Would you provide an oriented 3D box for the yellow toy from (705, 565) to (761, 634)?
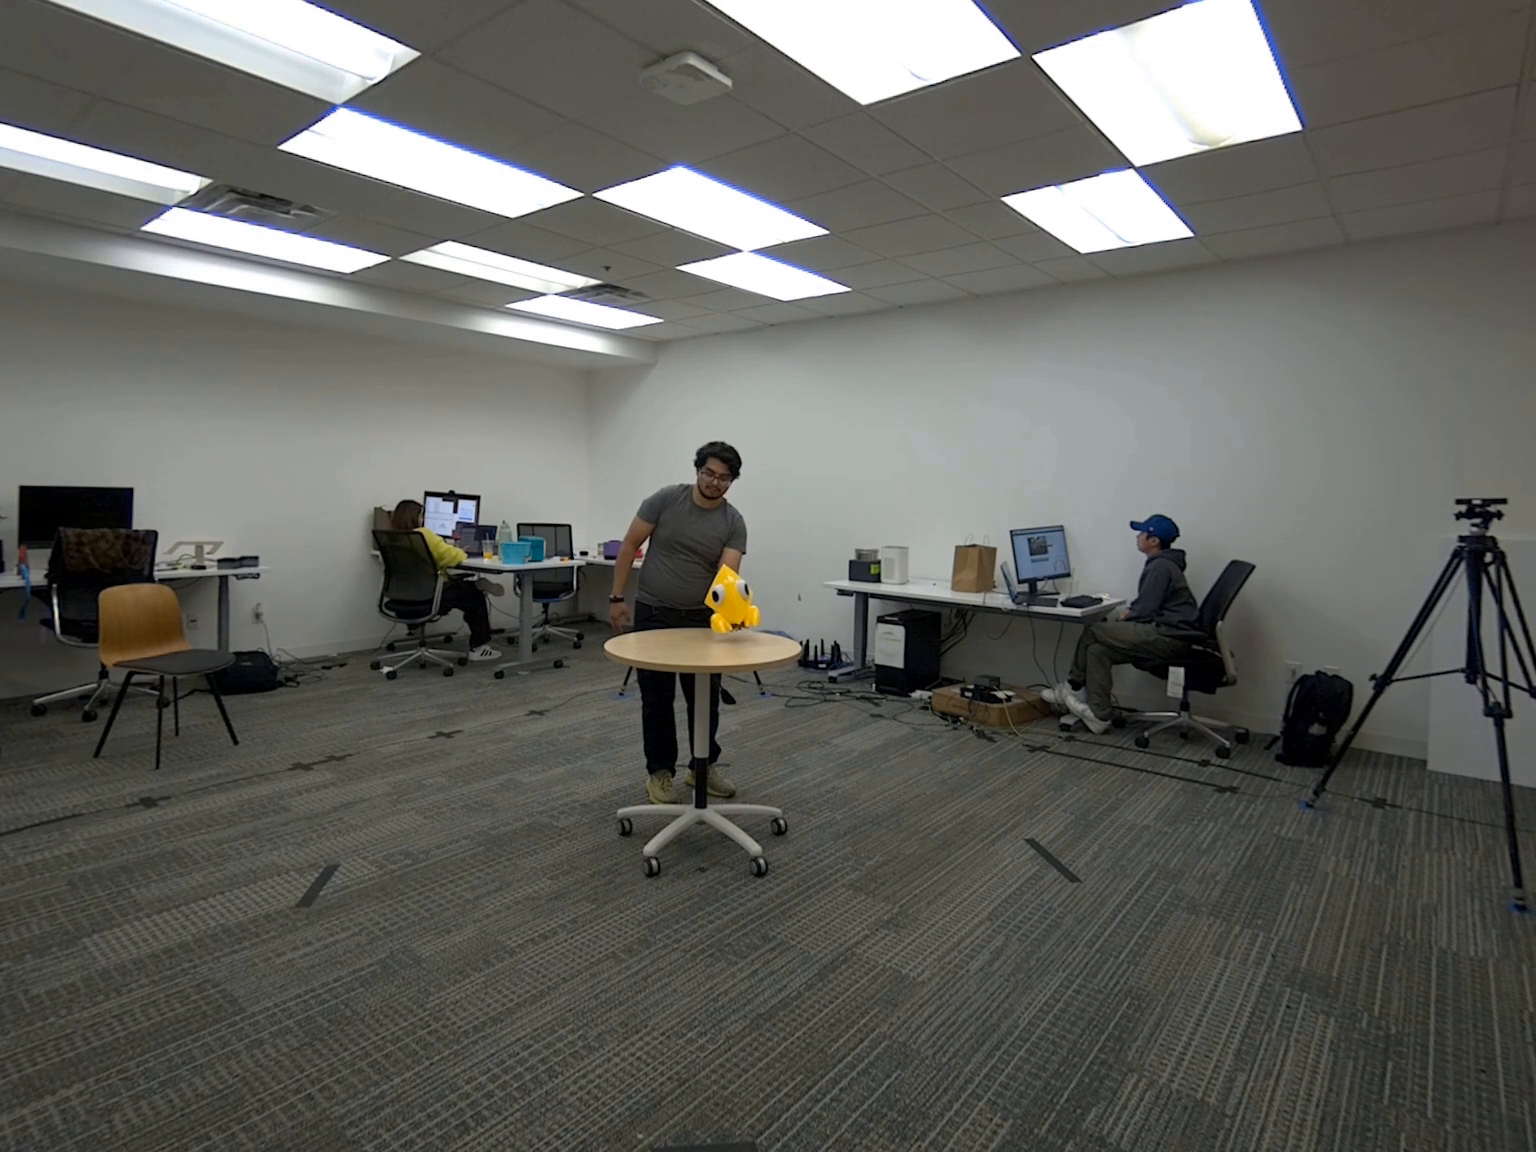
[{"bbox_3d":[-0.156,0.075,3.401,0.203,0.227,0.198,-11,16,-9],"label":"yellow toy"}]
